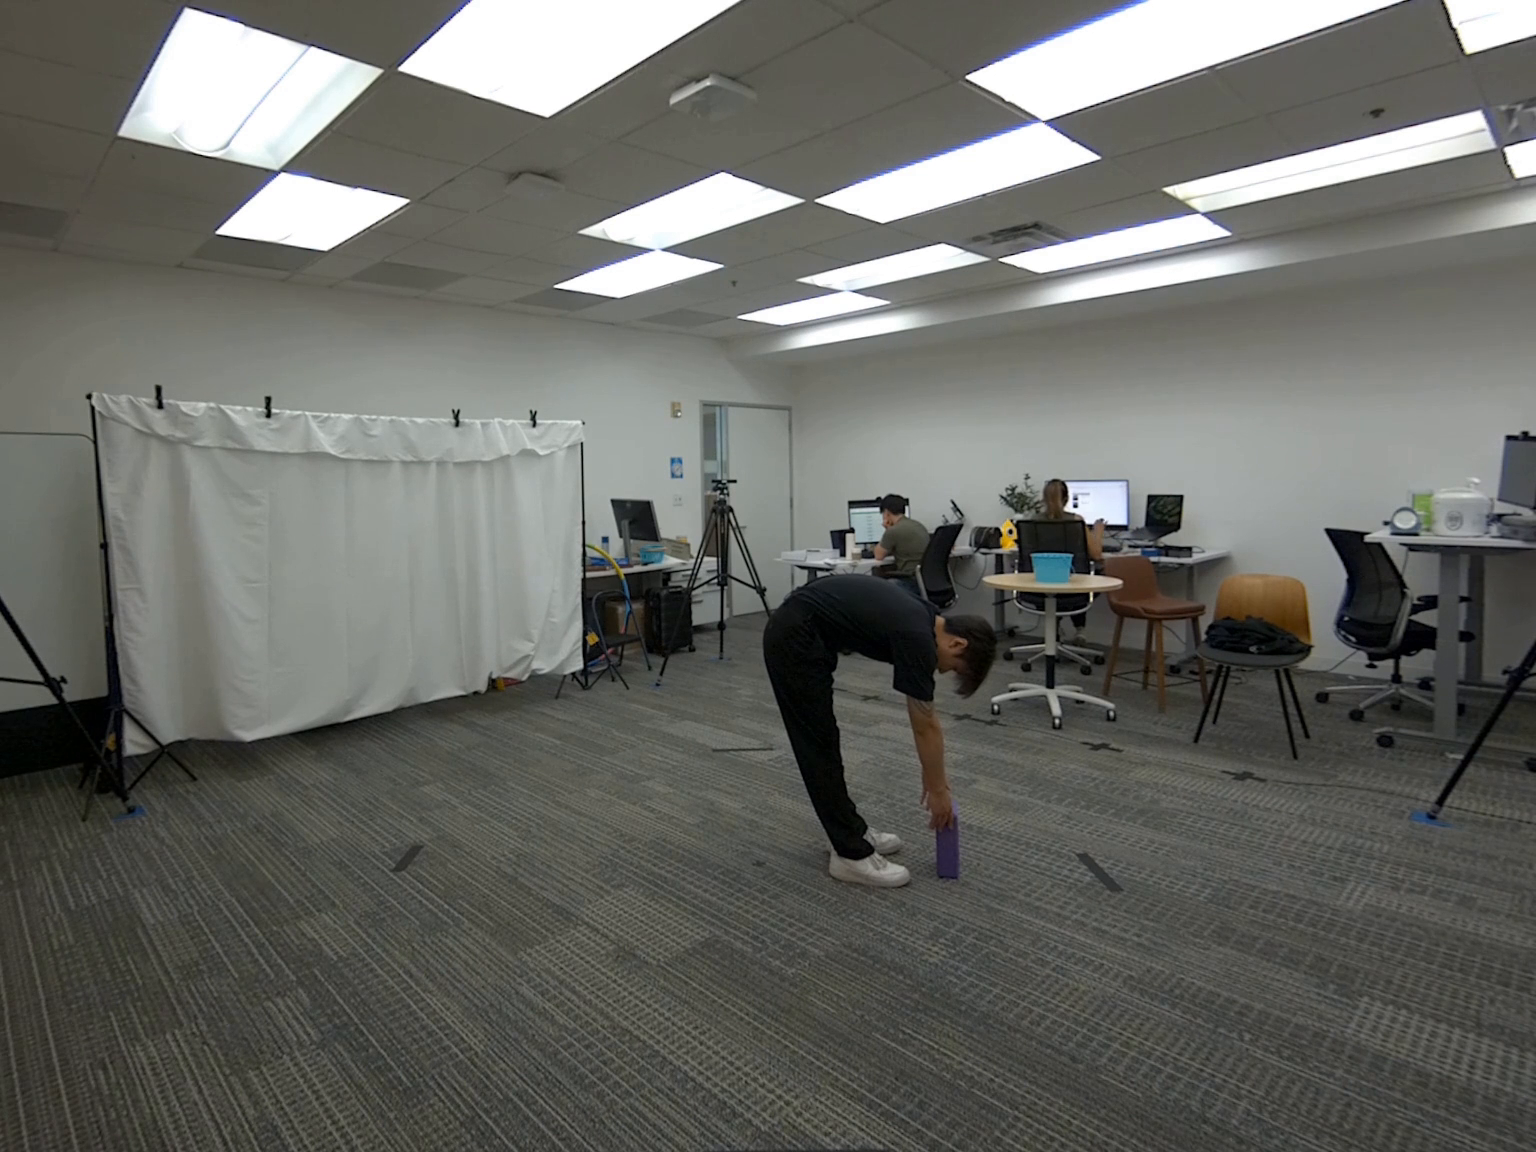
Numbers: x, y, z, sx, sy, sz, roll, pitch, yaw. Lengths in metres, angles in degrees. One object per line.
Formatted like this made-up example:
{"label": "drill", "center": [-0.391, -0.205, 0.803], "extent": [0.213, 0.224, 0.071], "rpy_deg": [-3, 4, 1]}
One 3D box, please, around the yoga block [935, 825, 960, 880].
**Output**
{"label": "yoga block", "center": [0.633, 0.926, 3.025], "extent": [0.077, 0.228, 0.148], "rpy_deg": [1, 4, 9]}
